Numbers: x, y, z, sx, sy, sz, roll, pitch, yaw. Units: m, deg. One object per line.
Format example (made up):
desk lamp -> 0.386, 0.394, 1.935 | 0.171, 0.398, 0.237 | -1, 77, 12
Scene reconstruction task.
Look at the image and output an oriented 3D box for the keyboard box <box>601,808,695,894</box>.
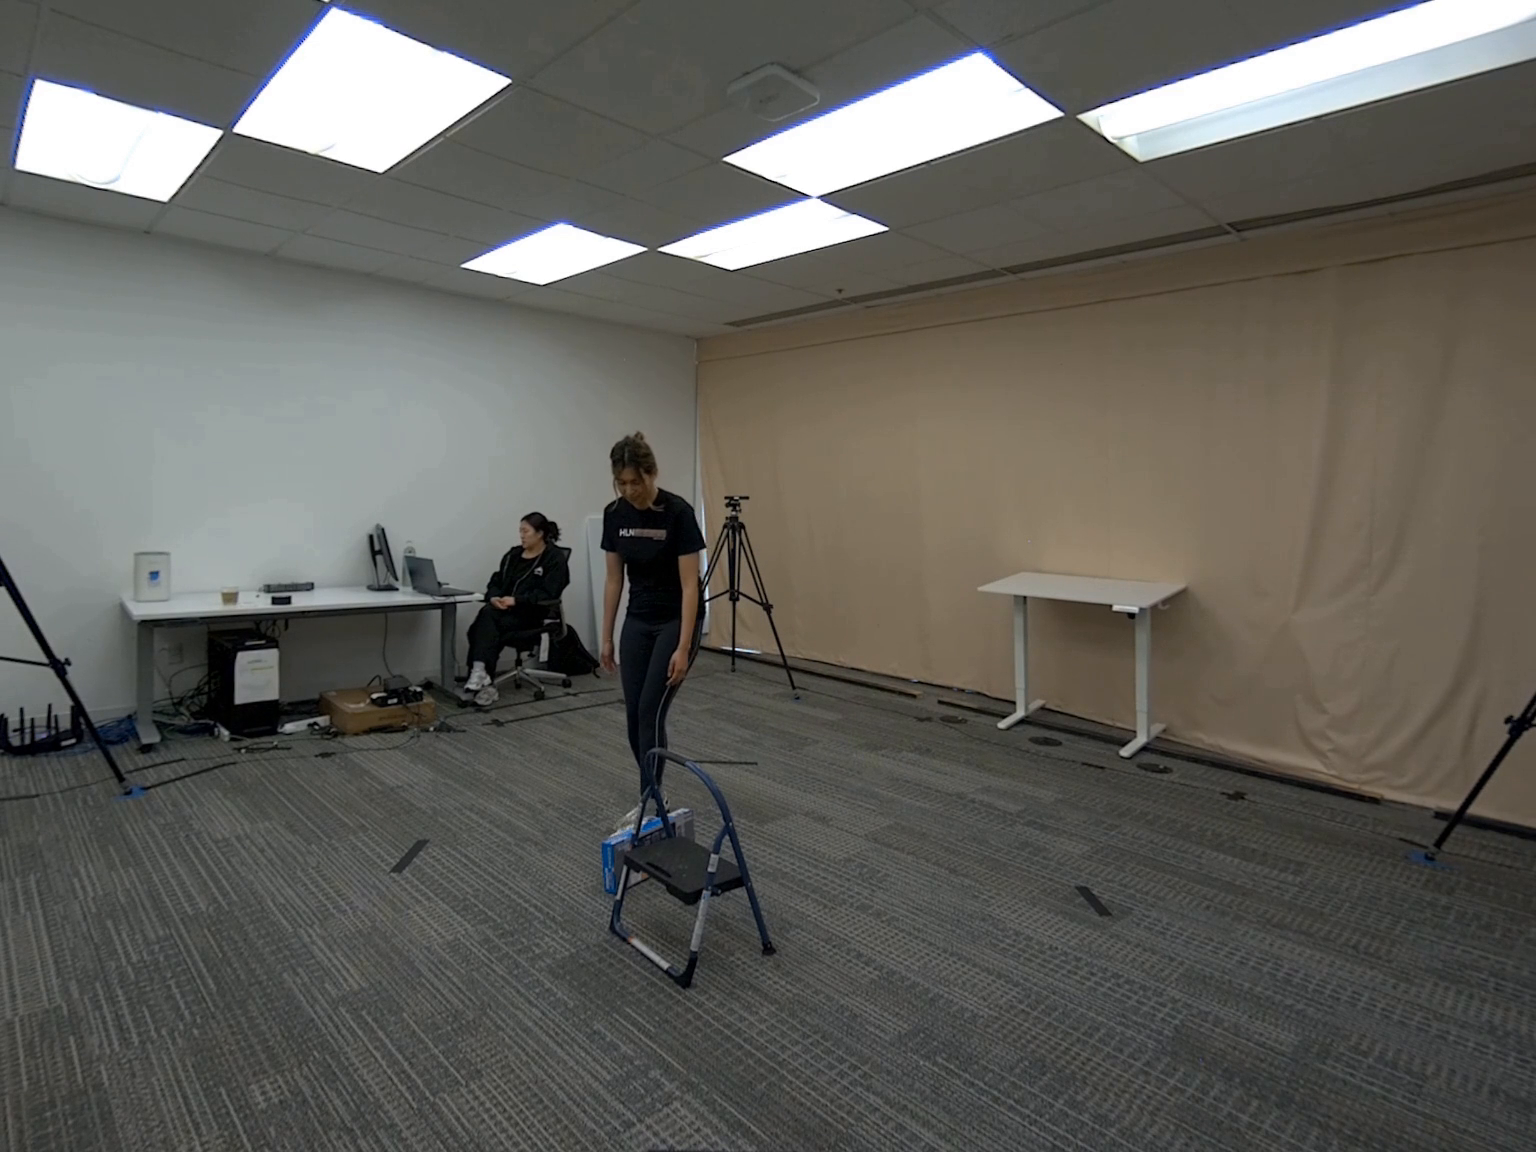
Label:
keyboard box -> -0.441, 1.009, 3.110 | 0.060, 0.176, 0.427 | -3, 1, 36
